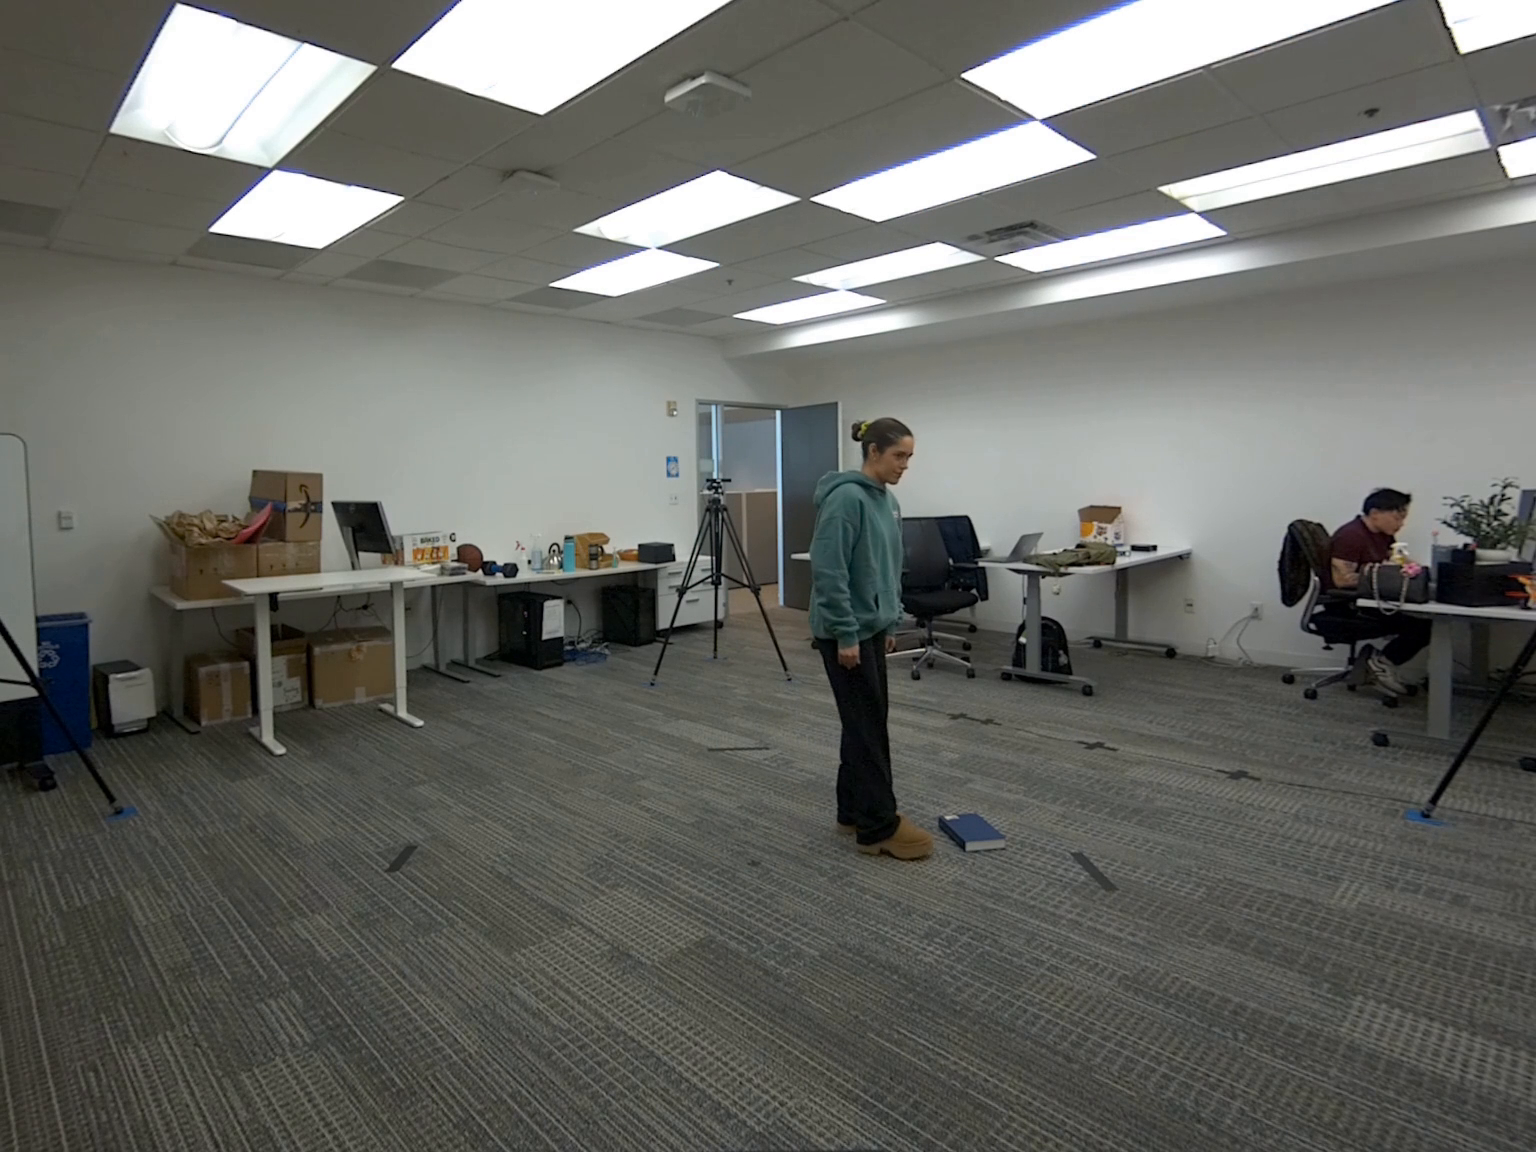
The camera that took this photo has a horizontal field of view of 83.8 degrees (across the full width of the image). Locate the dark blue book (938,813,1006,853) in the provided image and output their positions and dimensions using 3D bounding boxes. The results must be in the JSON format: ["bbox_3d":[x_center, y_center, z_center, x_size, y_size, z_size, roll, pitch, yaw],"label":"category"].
[{"bbox_3d":[0.781,0.981,3.292,0.162,0.045,0.248,-2,6,-11],"label":"dark blue book"}]
